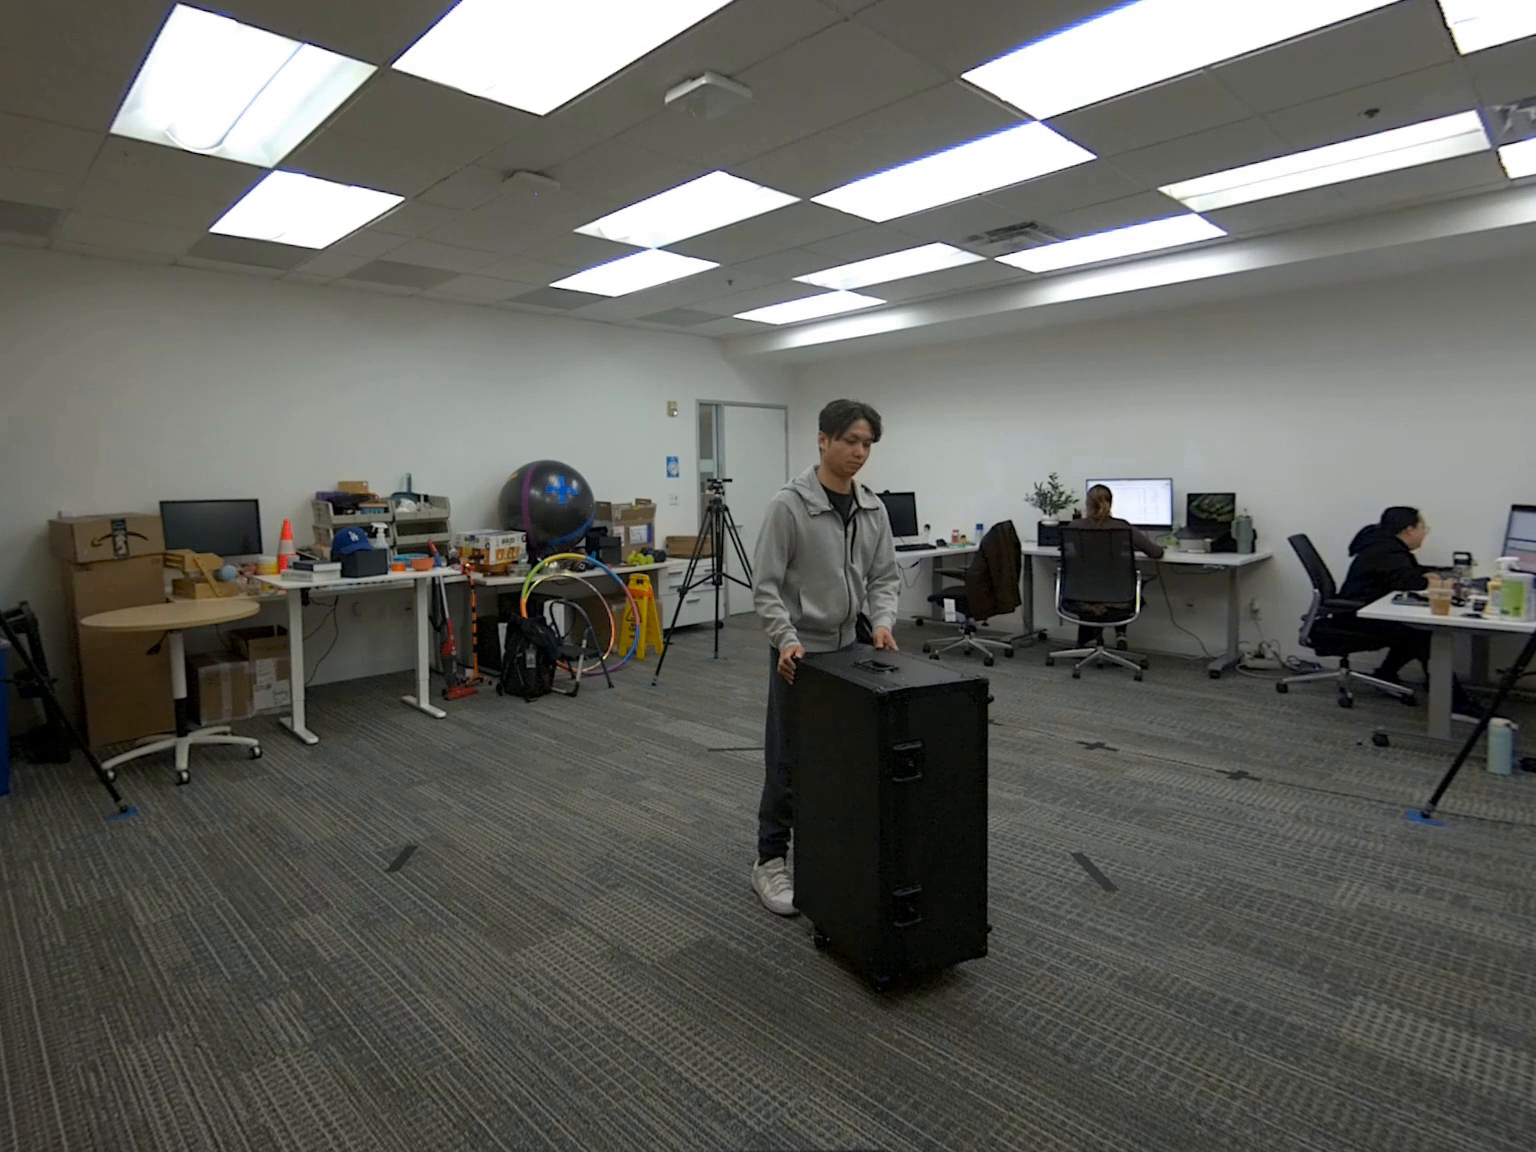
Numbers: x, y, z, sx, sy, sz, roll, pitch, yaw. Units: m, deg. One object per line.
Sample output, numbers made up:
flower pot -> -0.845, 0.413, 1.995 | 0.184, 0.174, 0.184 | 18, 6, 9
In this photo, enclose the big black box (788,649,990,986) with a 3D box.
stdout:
big black box -> 0.352, 0.694, 2.485 | 0.388, 0.859, 0.534 | -2, 3, -25
